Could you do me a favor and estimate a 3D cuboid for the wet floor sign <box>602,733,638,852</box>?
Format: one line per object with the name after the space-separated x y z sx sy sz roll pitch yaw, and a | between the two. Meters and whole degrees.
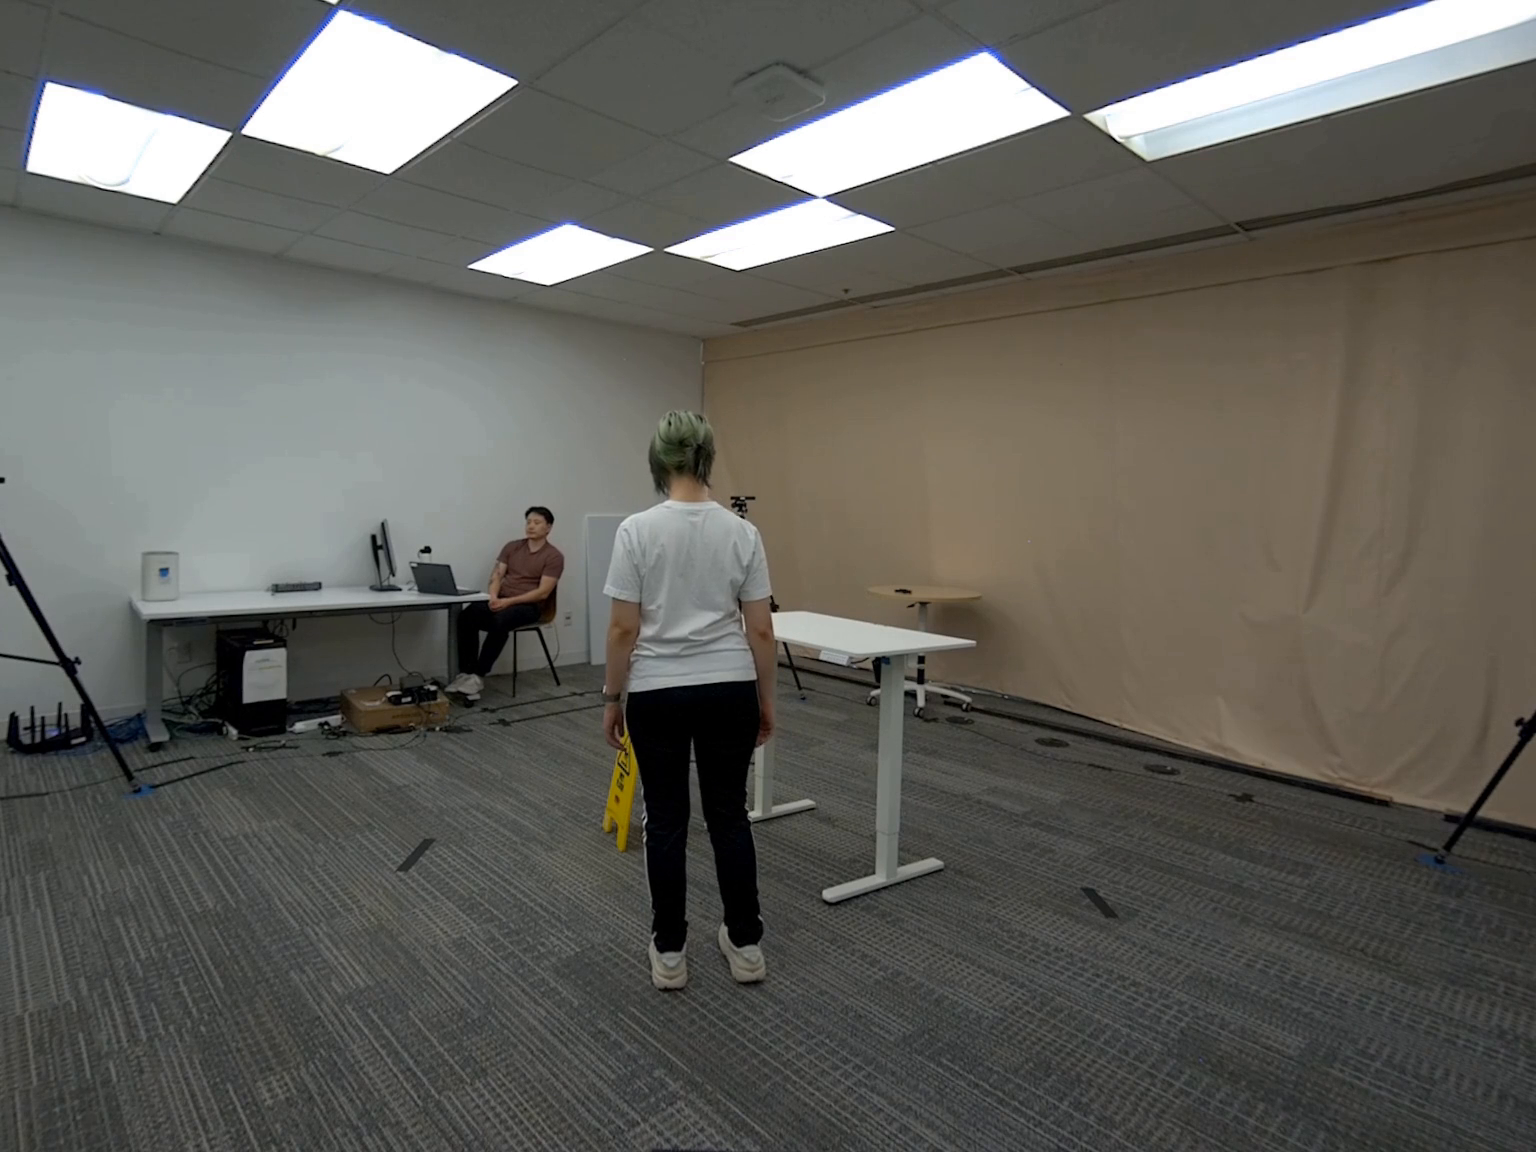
-0.523 0.744 3.440 0.285 0.645 0.287 0 3 -24 | wet floor sign
